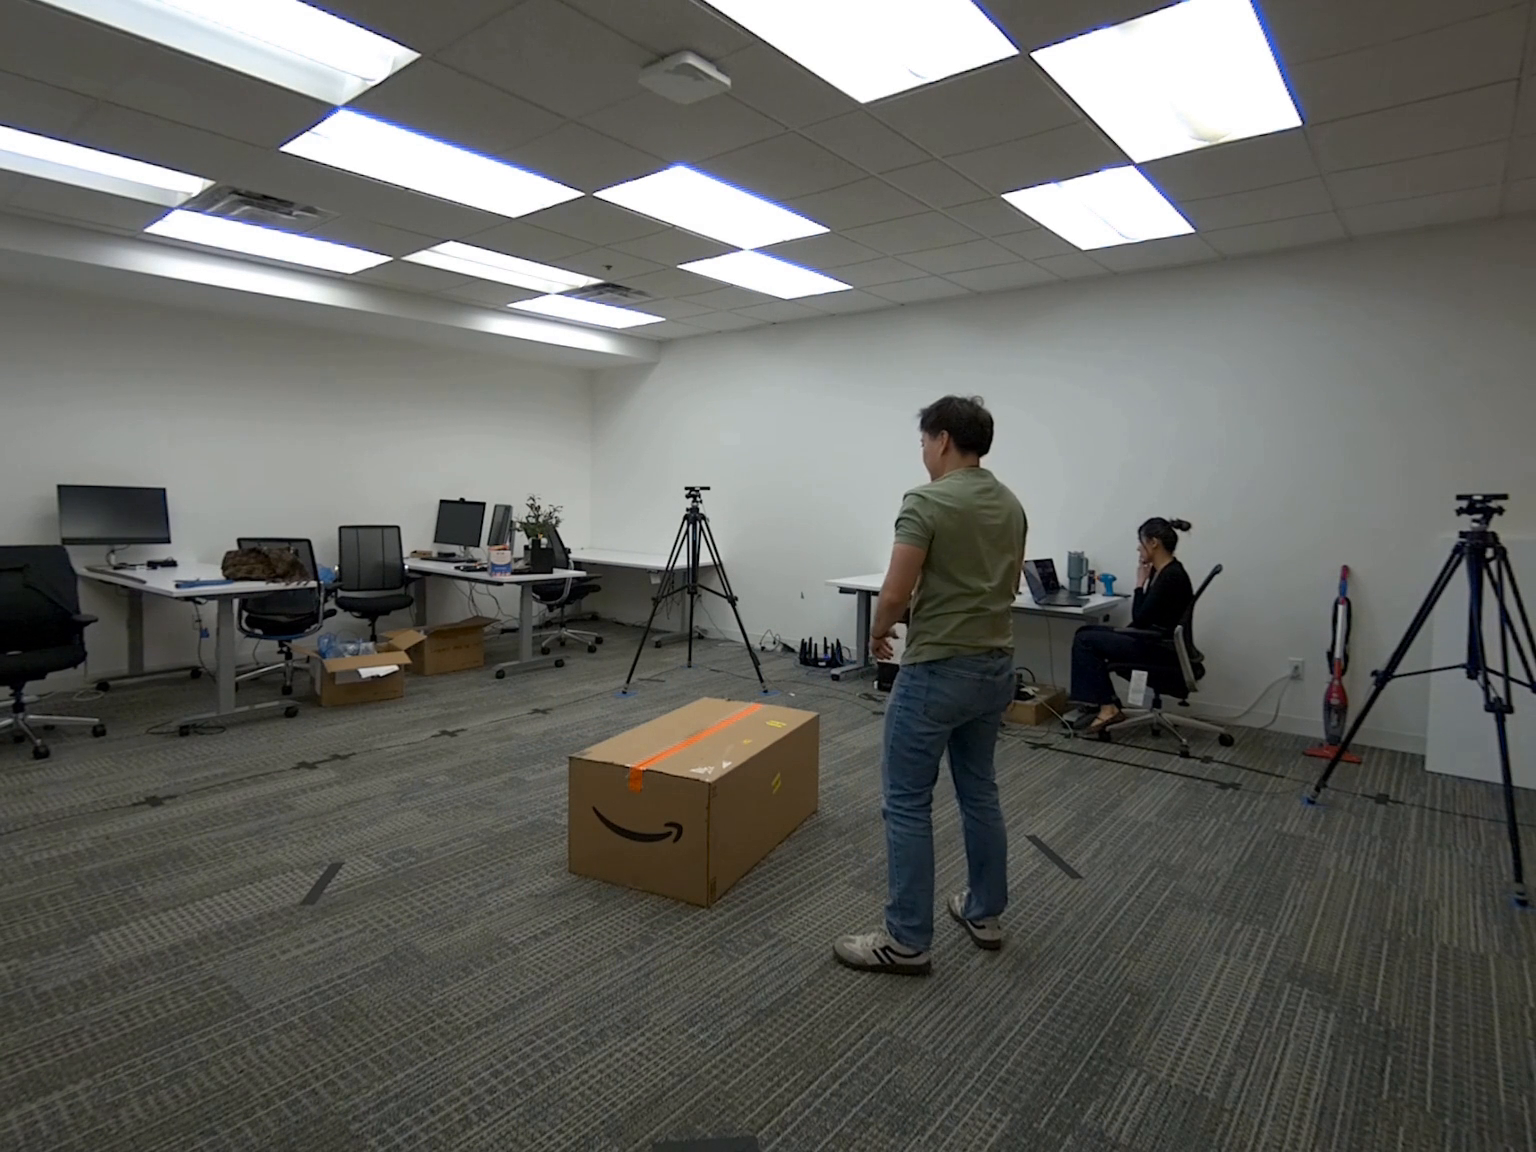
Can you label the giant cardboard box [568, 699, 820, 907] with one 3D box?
[{"bbox_3d":[-0.258,0.823,3.369,0.593,0.424,1.003,4,6,25],"label":"giant cardboard box"}]
